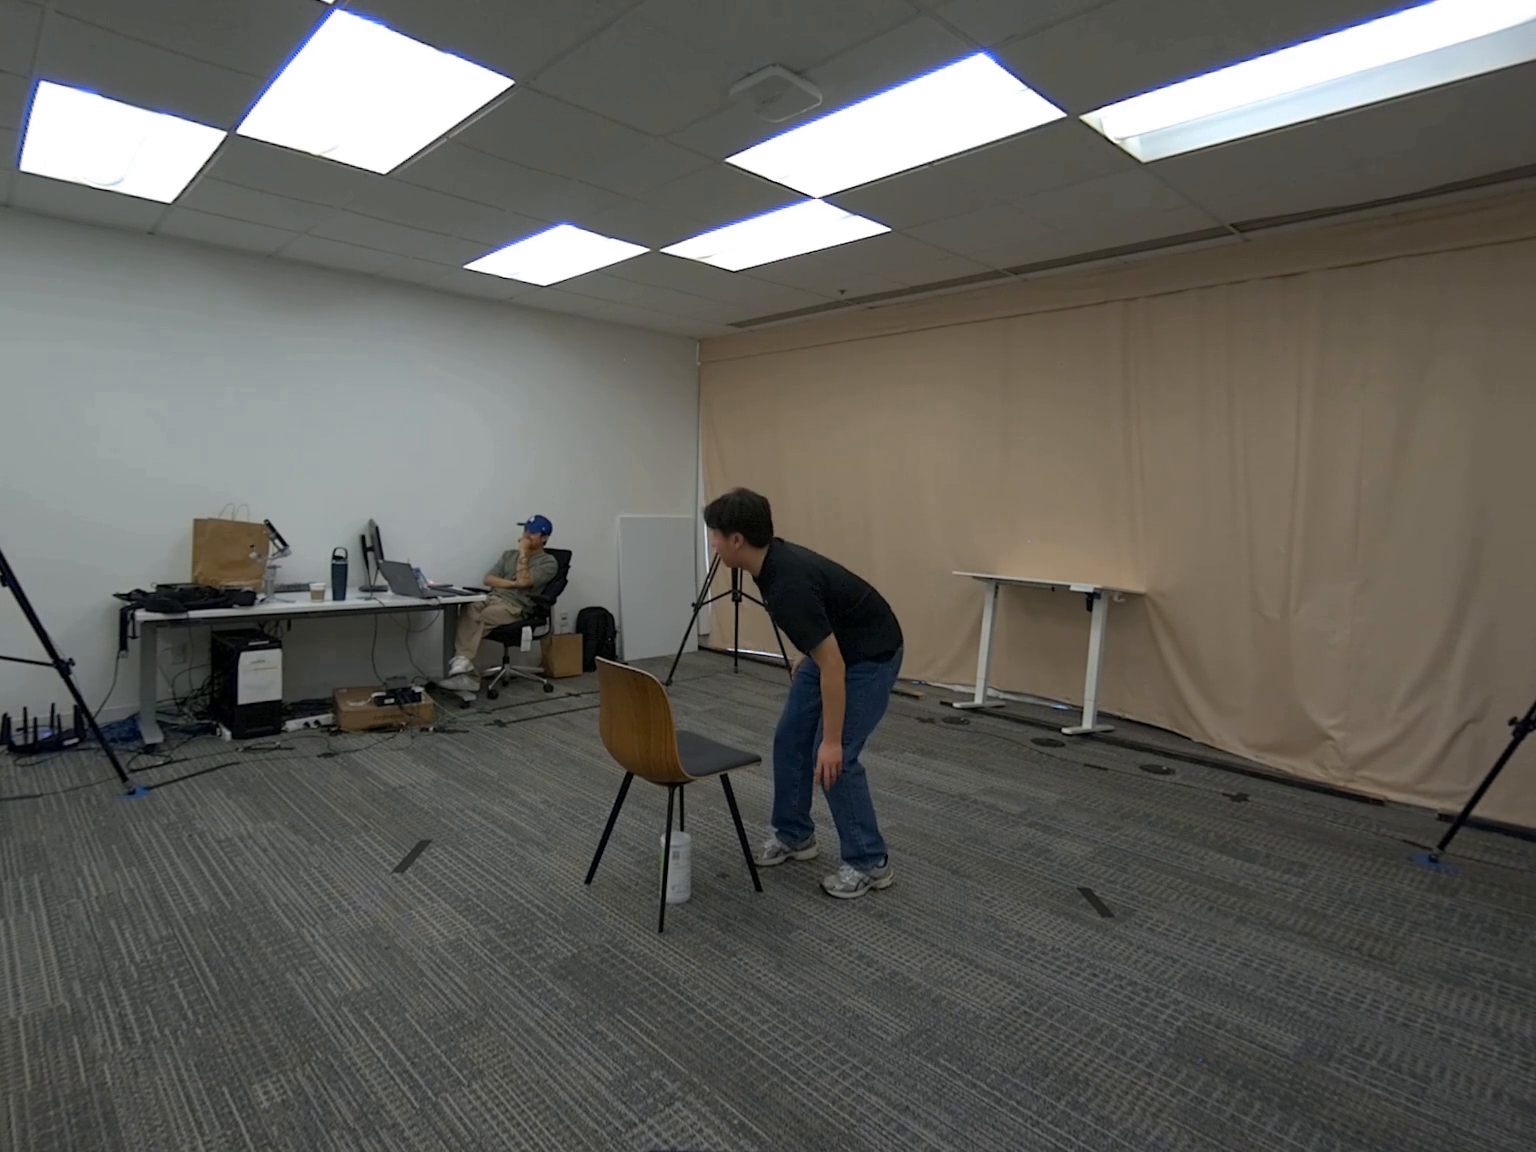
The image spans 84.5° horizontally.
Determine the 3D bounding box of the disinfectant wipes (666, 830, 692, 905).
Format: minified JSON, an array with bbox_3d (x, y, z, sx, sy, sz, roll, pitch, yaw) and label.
[{"bbox_3d":[-0.321,1.019,2.908,0.118,0.217,0.118,0,3,-1],"label":"disinfectant wipes"}]
